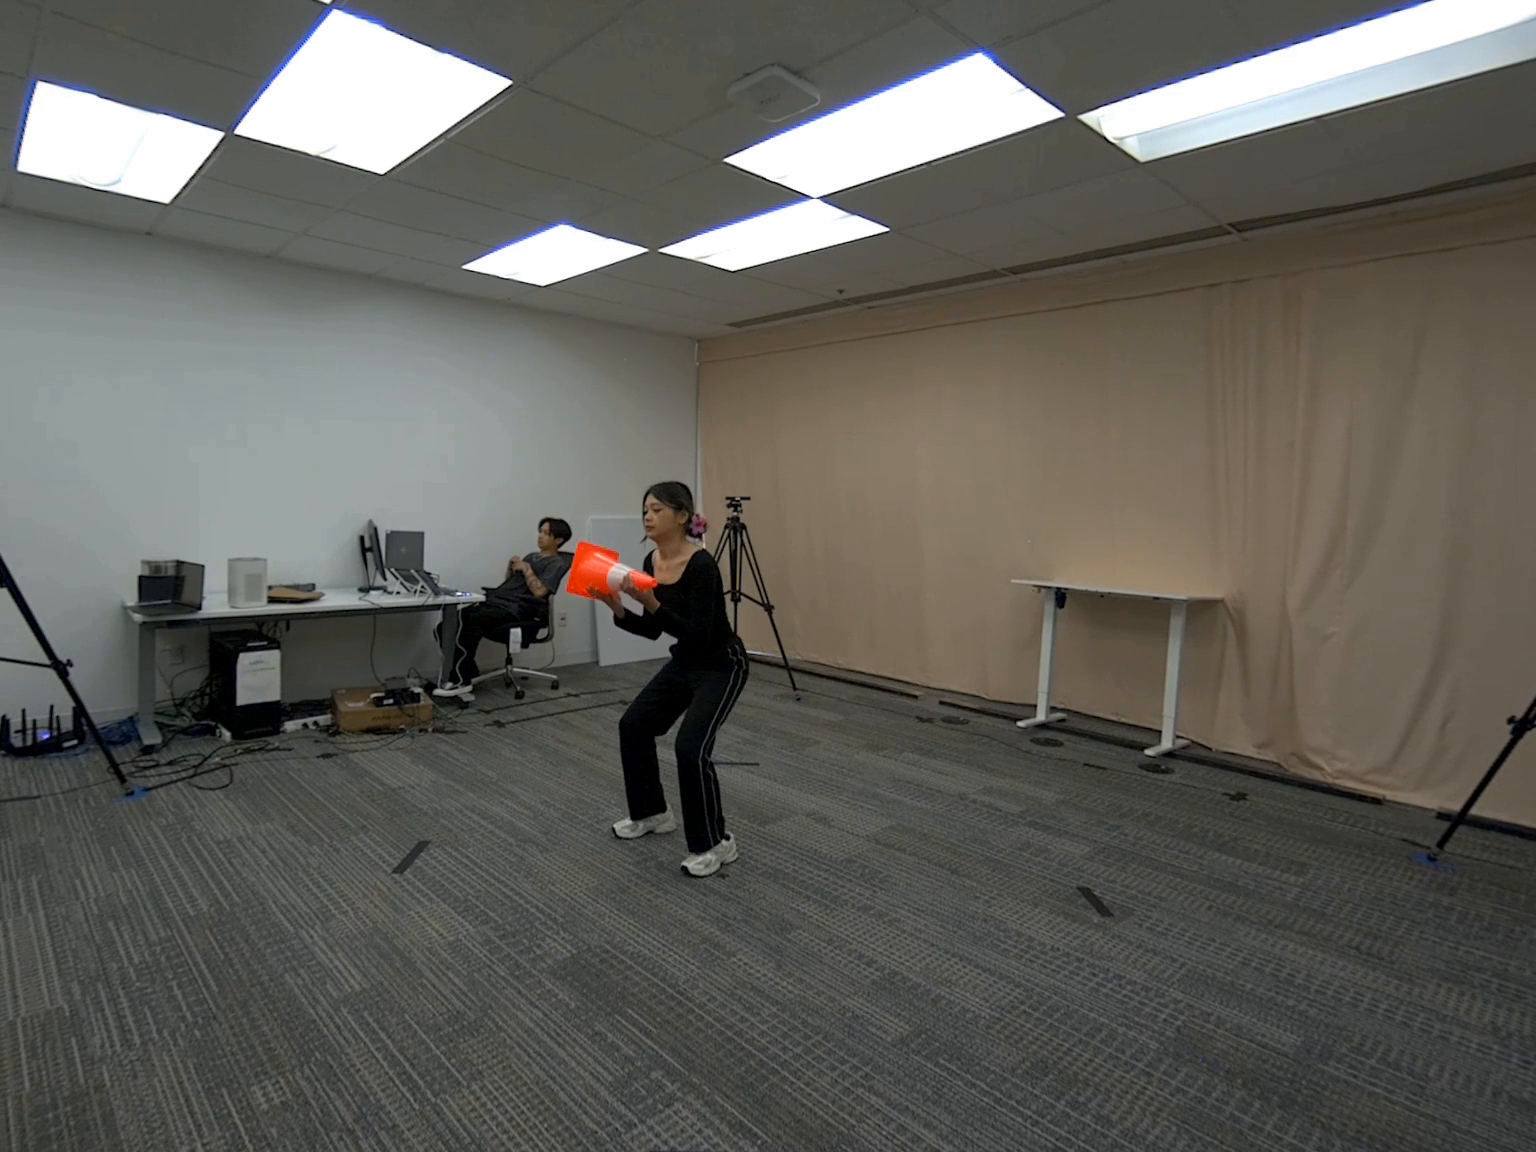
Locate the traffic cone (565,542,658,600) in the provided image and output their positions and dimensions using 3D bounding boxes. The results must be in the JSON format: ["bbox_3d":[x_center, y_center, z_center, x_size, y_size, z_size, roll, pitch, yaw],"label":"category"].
[{"bbox_3d":[-0.529,0.009,3.030,0.197,0.205,0.394,18,-7,-44],"label":"traffic cone"}]
